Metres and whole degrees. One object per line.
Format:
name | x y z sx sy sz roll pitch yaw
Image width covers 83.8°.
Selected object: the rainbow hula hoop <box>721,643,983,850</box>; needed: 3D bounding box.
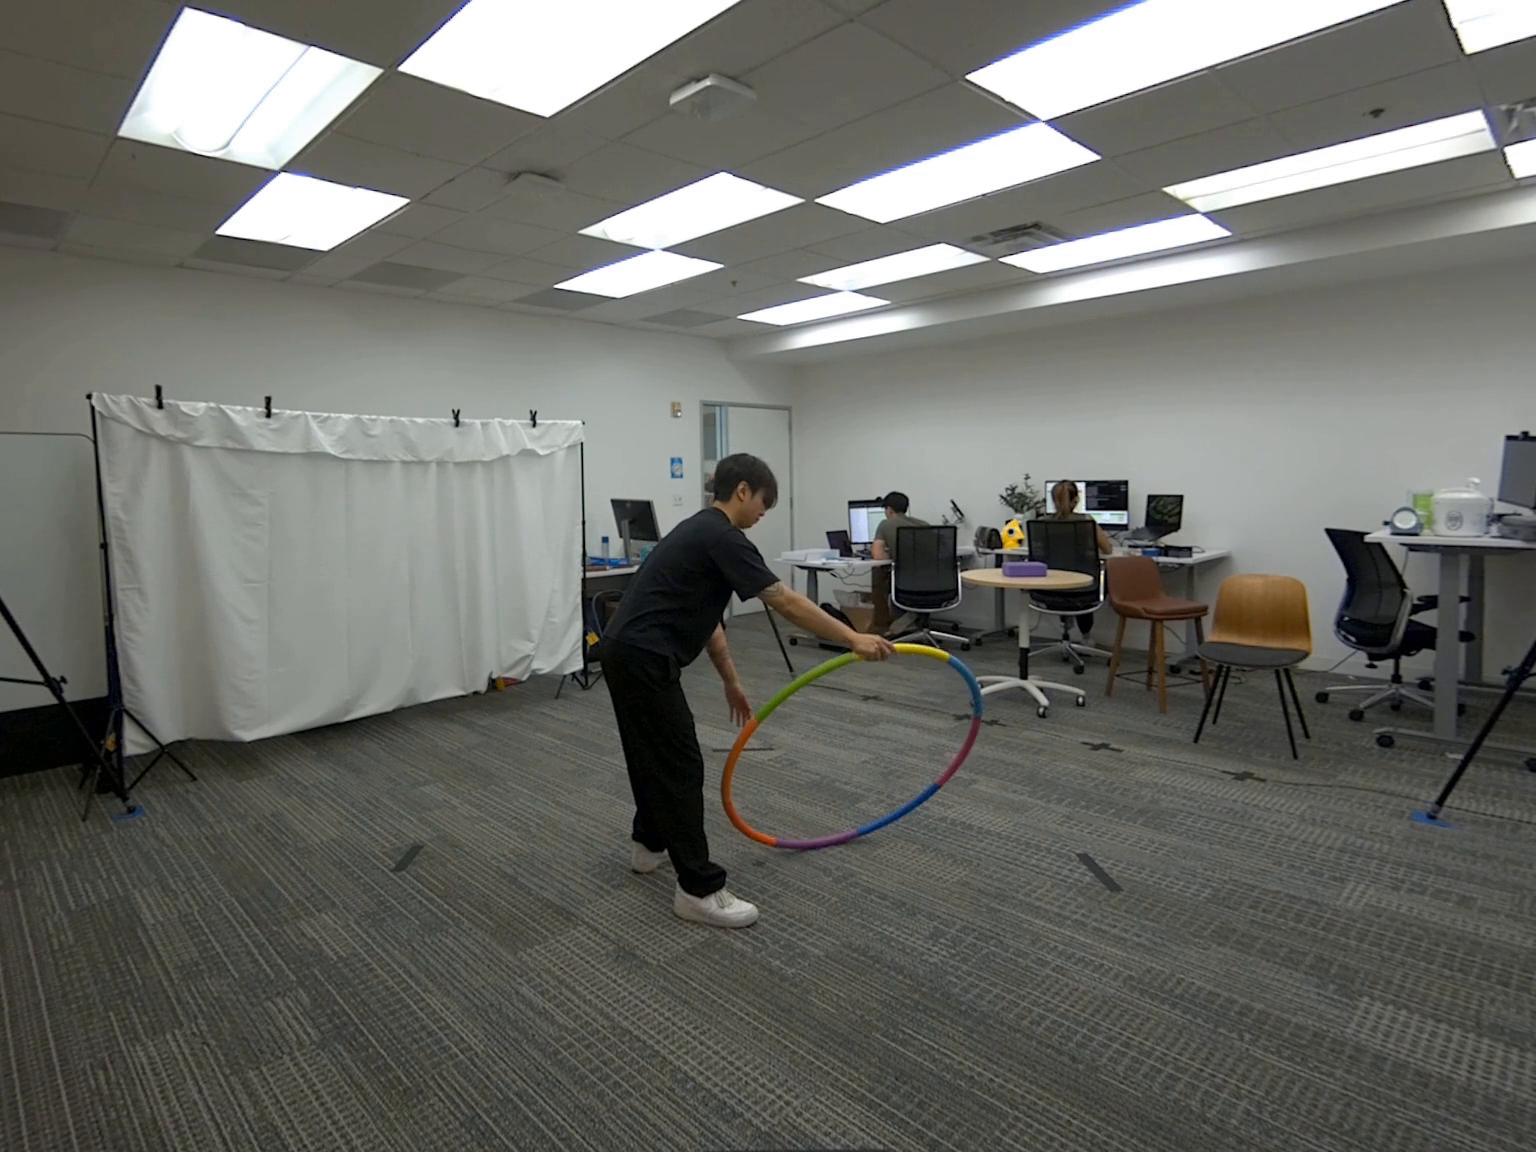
rainbow hula hoop | 0.307 0.628 3.018 0.961 0.960 0.037 -2 35 -20
